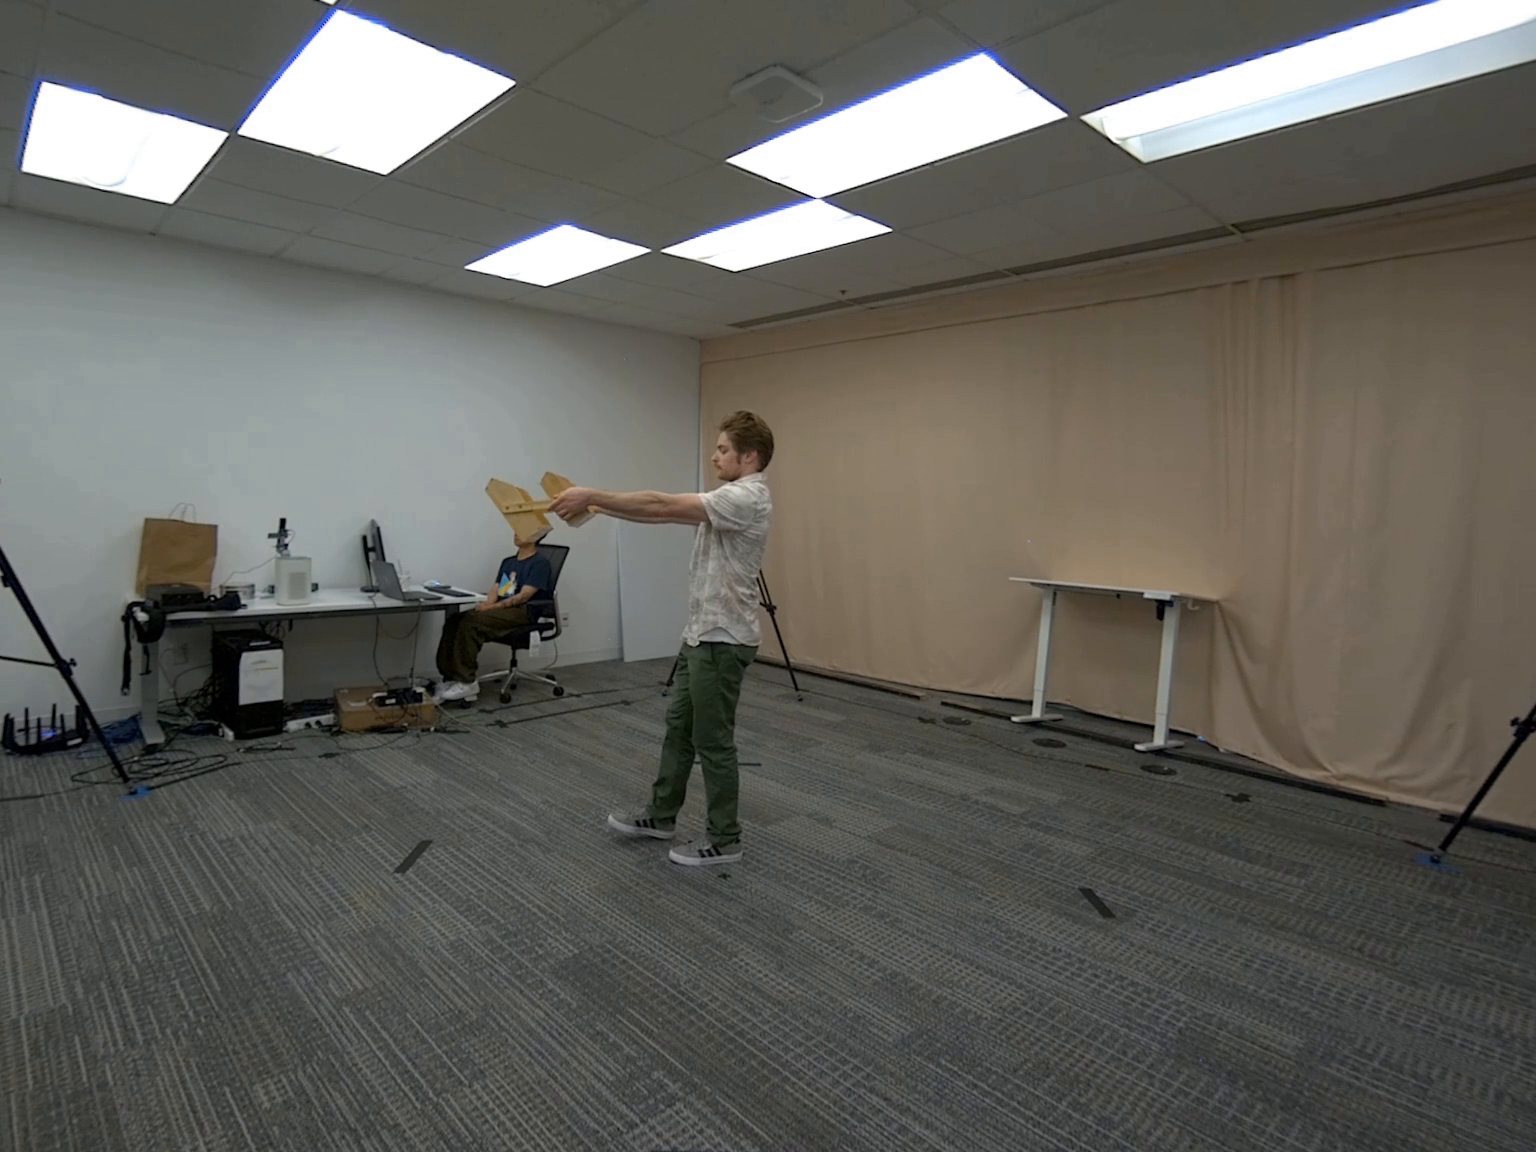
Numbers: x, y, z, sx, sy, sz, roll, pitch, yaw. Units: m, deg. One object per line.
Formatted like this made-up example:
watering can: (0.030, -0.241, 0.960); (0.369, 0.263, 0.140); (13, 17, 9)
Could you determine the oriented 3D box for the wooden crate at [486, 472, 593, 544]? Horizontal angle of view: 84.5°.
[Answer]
wooden crate: (-0.847, -0.286, 3.160); (0.273, 0.300, 0.326); (-35, 5, -5)
